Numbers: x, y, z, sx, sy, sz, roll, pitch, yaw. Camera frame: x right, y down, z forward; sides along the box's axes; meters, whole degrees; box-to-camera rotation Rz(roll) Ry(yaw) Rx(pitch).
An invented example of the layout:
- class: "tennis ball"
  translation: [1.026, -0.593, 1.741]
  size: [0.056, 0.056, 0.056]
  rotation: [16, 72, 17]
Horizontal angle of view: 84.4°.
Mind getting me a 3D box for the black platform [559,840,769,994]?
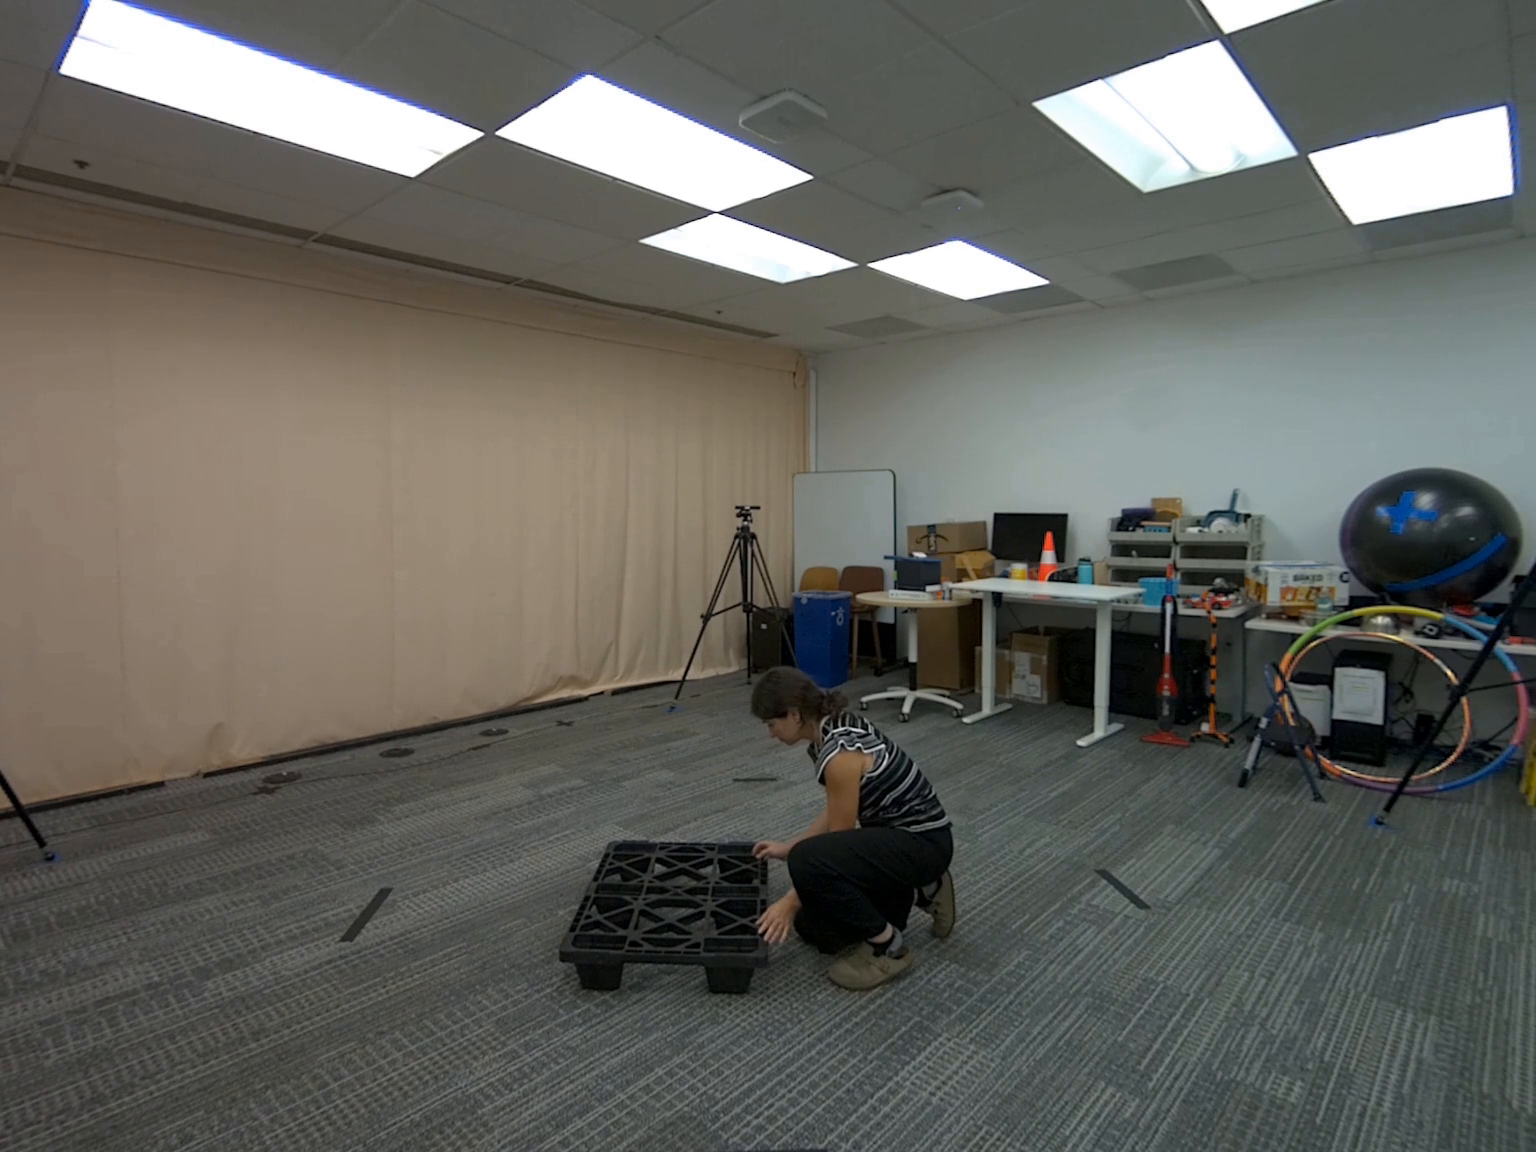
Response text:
- class: "black platform"
  translation: [-0.293, 1.096, 2.775]
  size: [0.607, 0.143, 0.805]
  rotation: [0, 5, 2]
